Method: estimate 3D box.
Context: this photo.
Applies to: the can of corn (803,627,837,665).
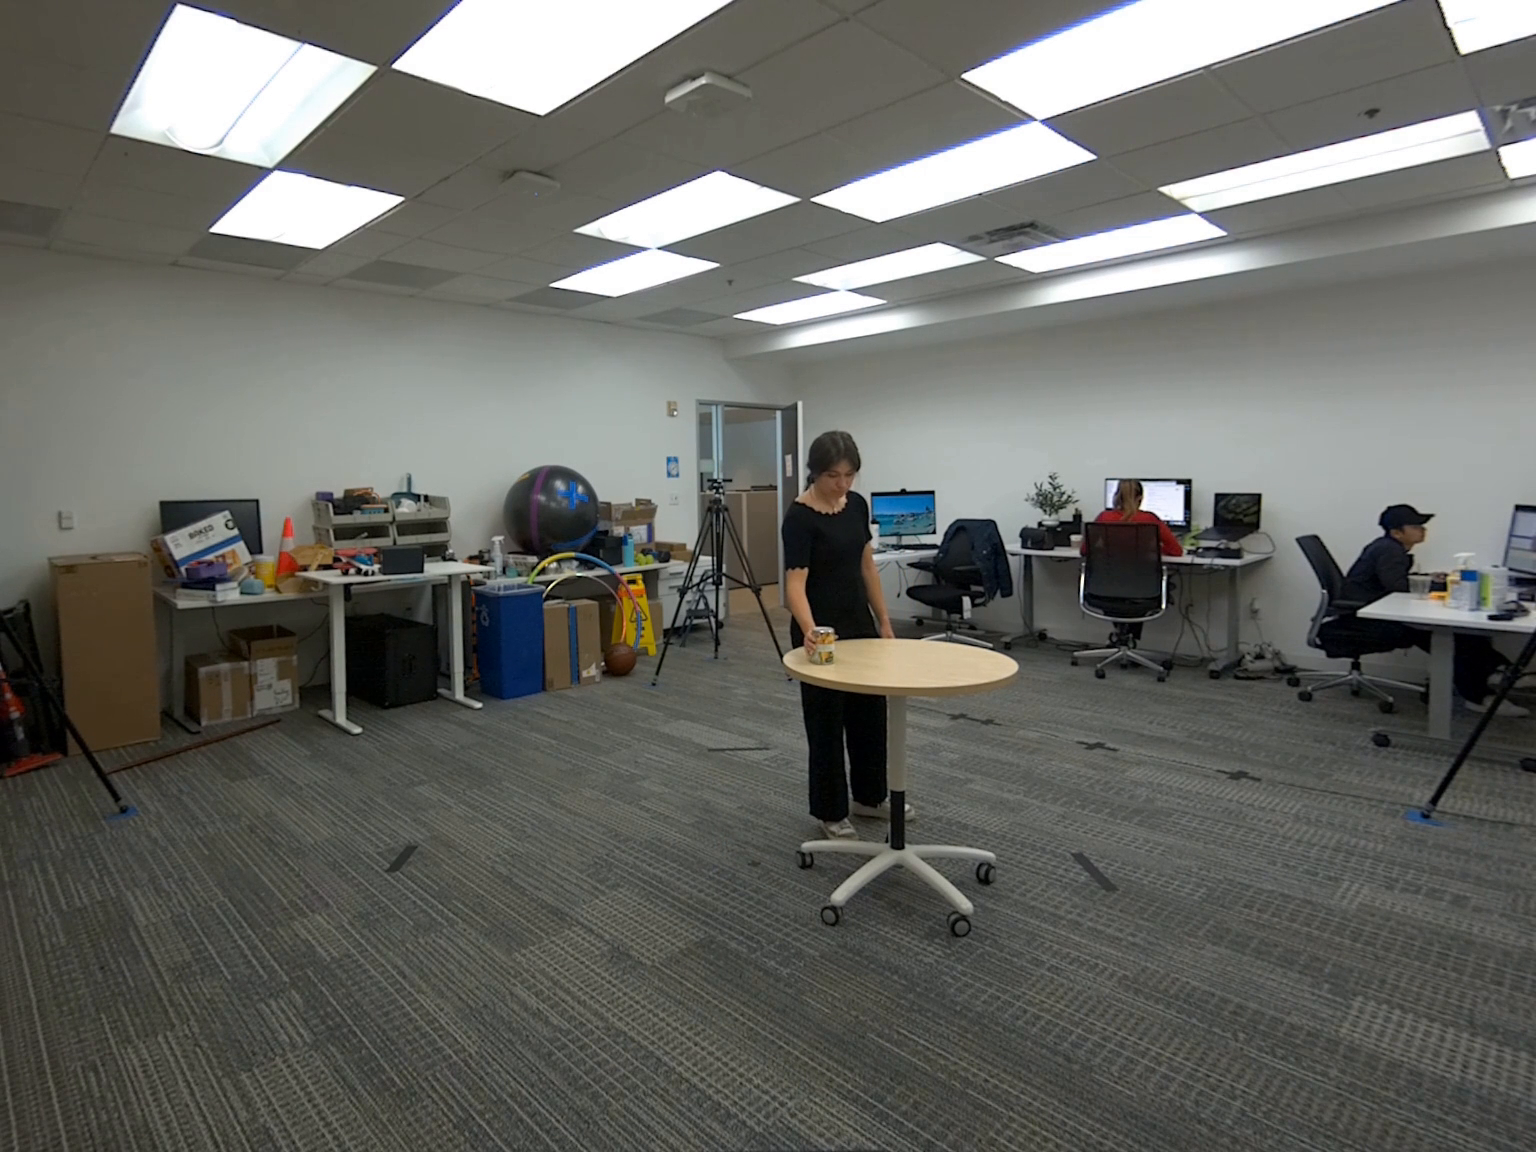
[{"bbox_3d":[0.182,0.235,2.823,0.074,0.111,0.074,-2,3,-2],"label":"can of corn"}]
